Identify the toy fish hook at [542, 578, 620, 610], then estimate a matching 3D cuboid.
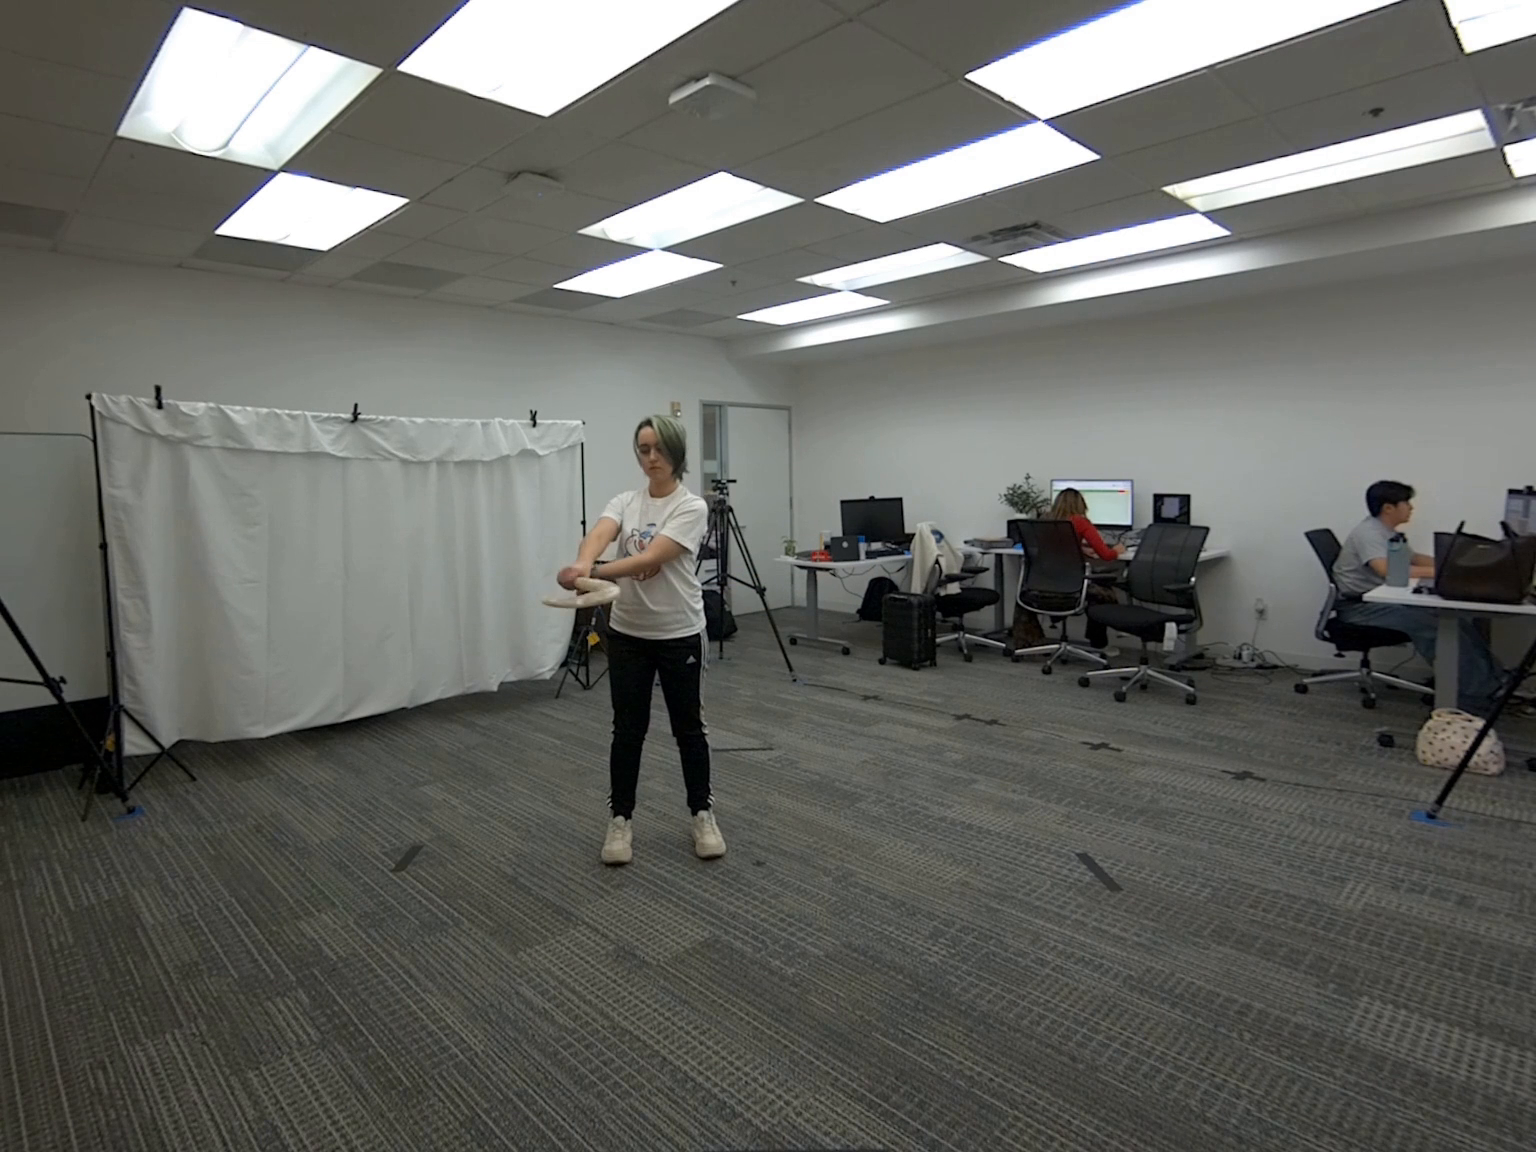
[{"bbox_3d":[-0.636,0.036,2.644,0.221,0.048,0.519,-8,10,-22],"label":"toy fish hook"}]
